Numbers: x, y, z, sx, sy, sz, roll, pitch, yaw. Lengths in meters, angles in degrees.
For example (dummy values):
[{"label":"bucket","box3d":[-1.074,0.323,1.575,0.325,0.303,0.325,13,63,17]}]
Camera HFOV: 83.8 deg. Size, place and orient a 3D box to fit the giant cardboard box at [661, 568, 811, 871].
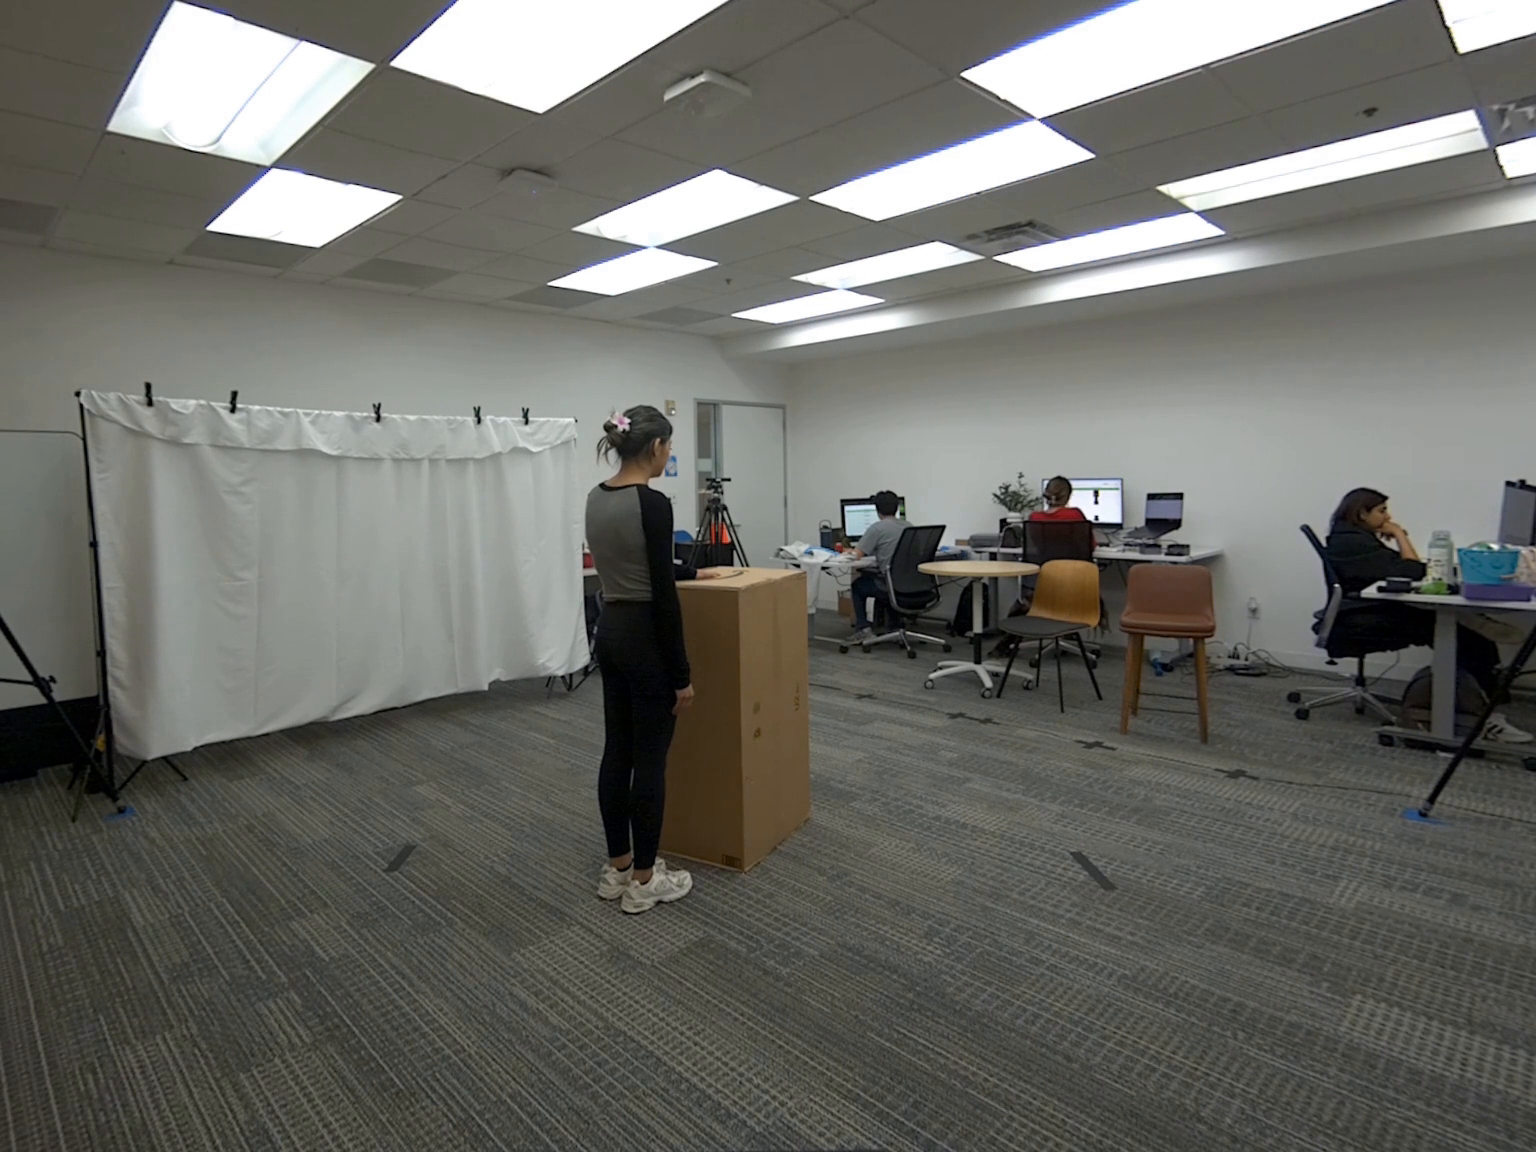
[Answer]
[{"label":"giant cardboard box","box3d":[-0.149,0.512,3.342,0.458,1.022,0.572,2,6,27]}]
